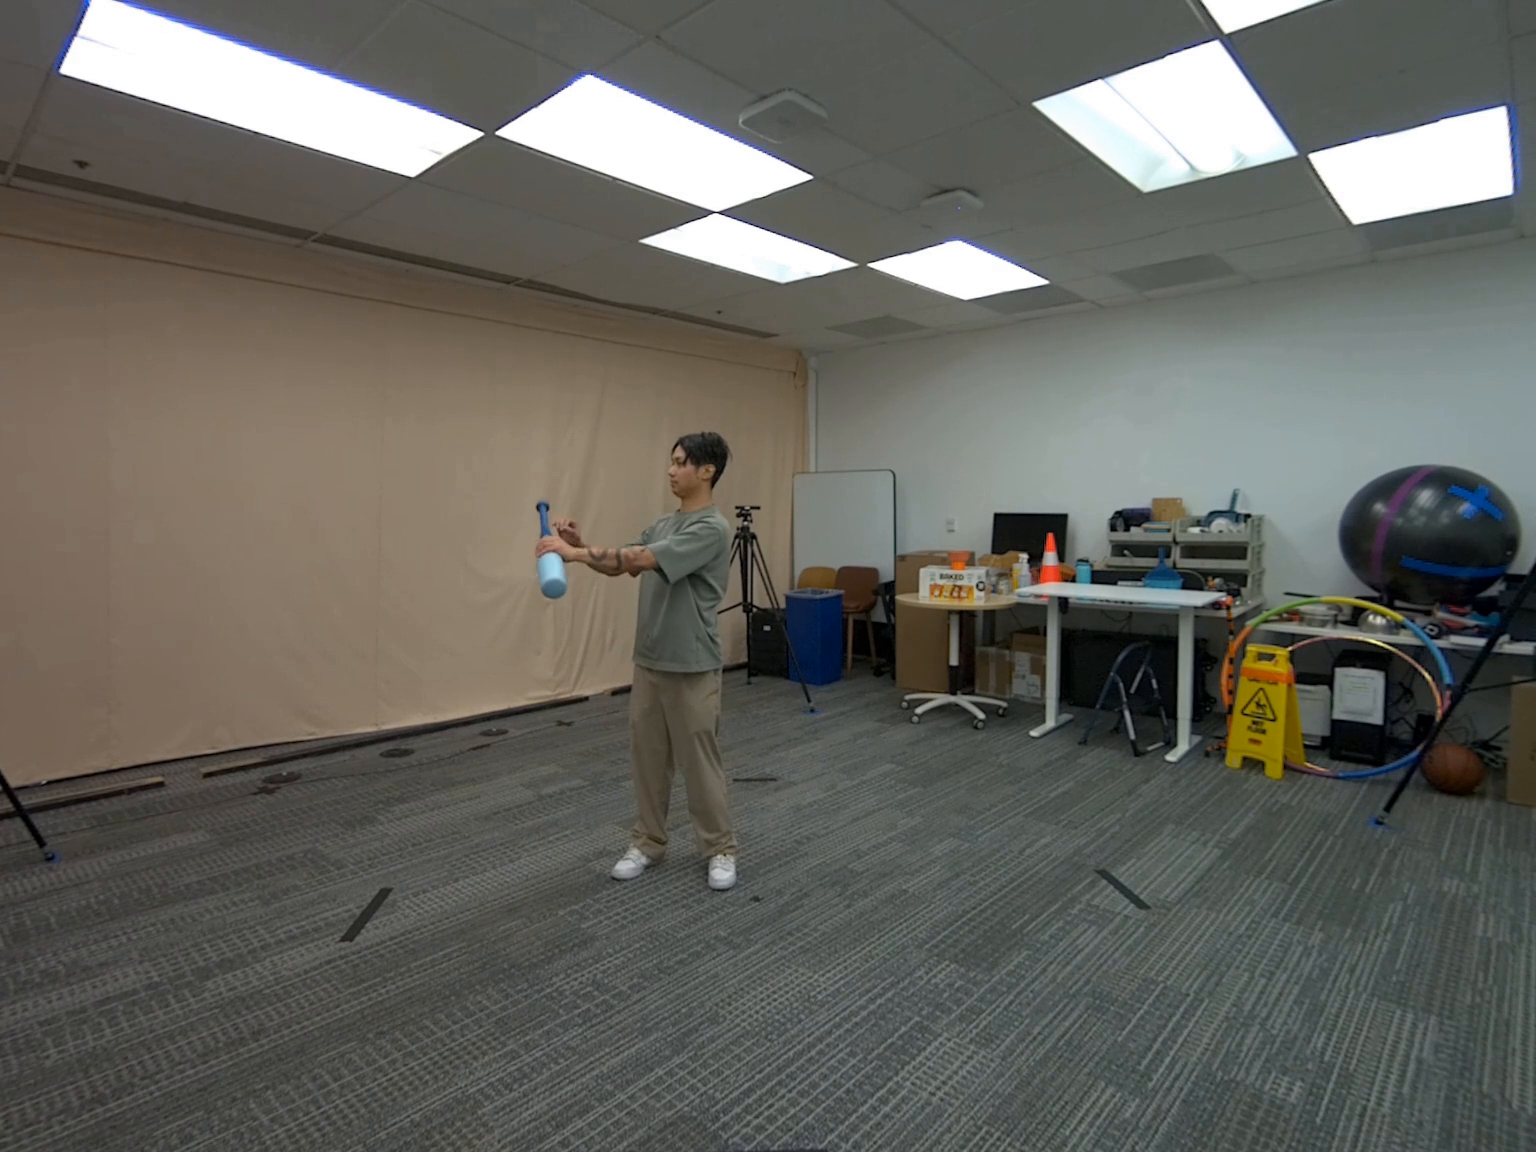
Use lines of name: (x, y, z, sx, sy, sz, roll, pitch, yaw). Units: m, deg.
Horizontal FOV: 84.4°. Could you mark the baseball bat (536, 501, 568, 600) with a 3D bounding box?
baseball bat: (-0.762, -0.094, 2.920, 0.087, 0.088, 0.560, -2, 34, -20)
